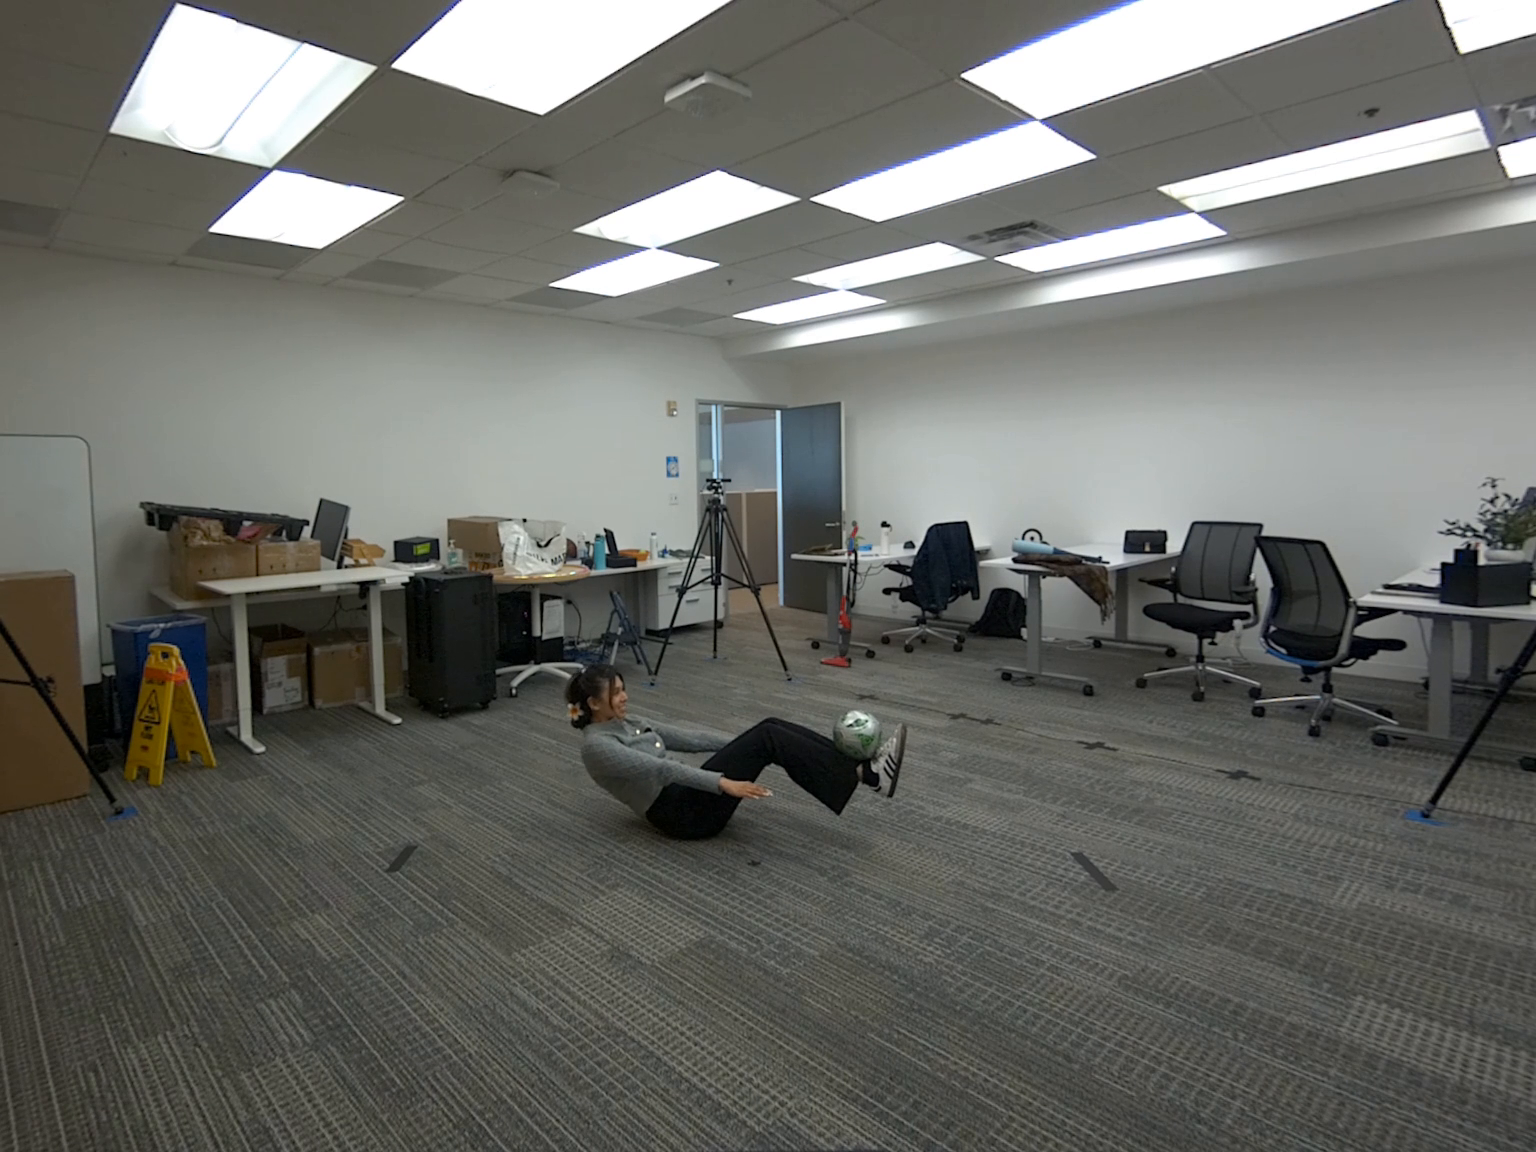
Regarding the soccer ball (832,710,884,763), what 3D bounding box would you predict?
[{"bbox_3d":[0.338,0.606,3.244,0.187,0.187,0.188,-1,5,-2],"label":"soccer ball"}]
